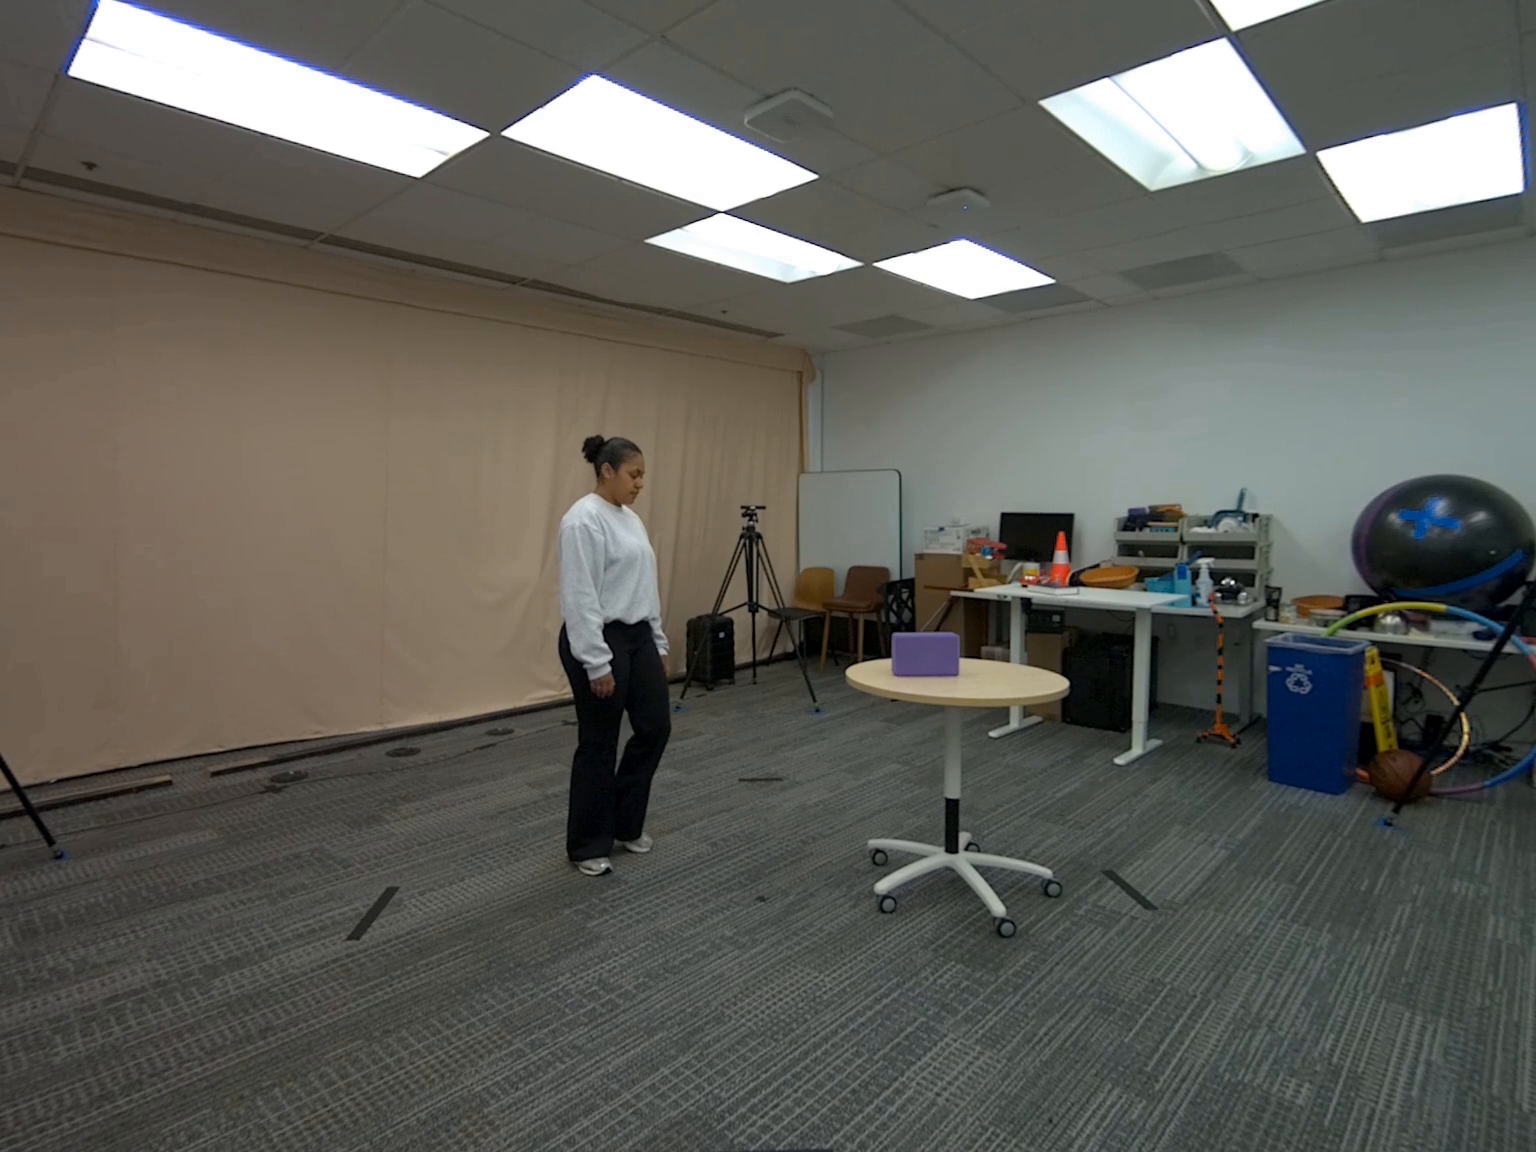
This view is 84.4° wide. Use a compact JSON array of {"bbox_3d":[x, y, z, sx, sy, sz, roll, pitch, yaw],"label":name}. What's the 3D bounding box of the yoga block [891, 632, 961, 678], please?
[{"bbox_3d":[0.569,0.285,3.020,0.229,0.149,0.076,0,1,0],"label":"yoga block"}]
